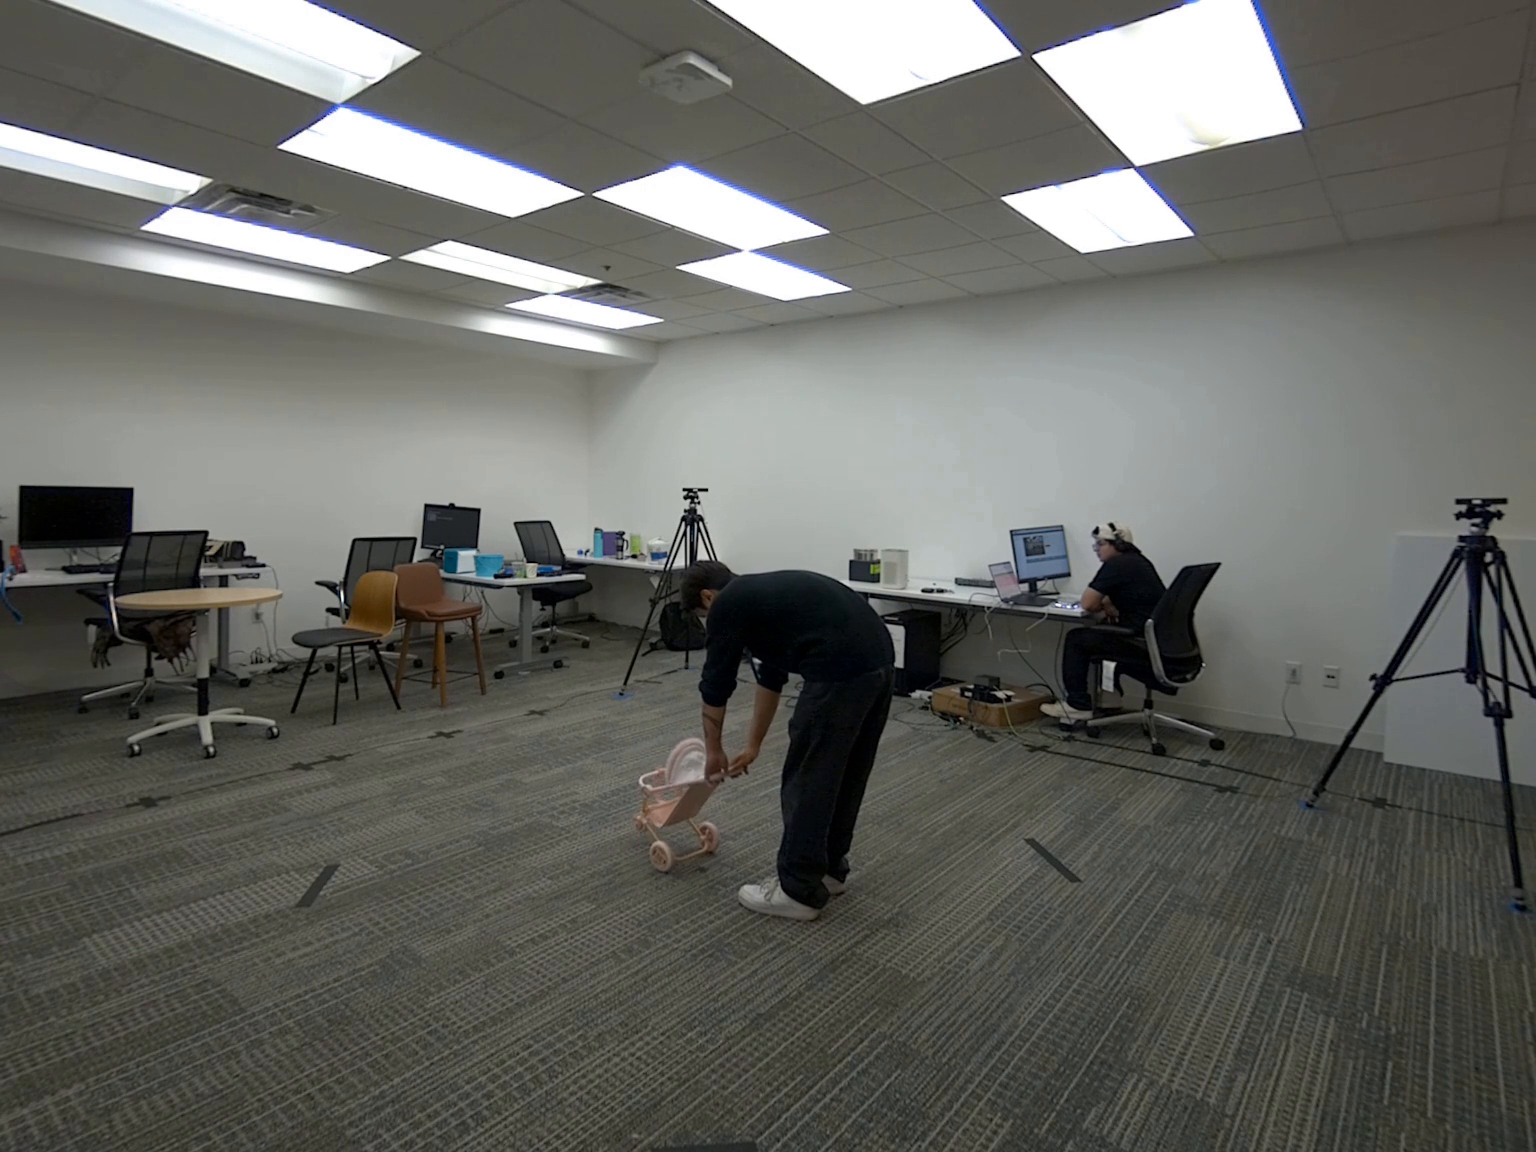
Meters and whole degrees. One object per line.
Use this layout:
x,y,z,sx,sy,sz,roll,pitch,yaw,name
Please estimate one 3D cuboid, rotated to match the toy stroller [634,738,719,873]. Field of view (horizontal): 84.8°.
-0.343,0.829,3.196,0.272,0.529,0.356,-1,29,-44,toy stroller
